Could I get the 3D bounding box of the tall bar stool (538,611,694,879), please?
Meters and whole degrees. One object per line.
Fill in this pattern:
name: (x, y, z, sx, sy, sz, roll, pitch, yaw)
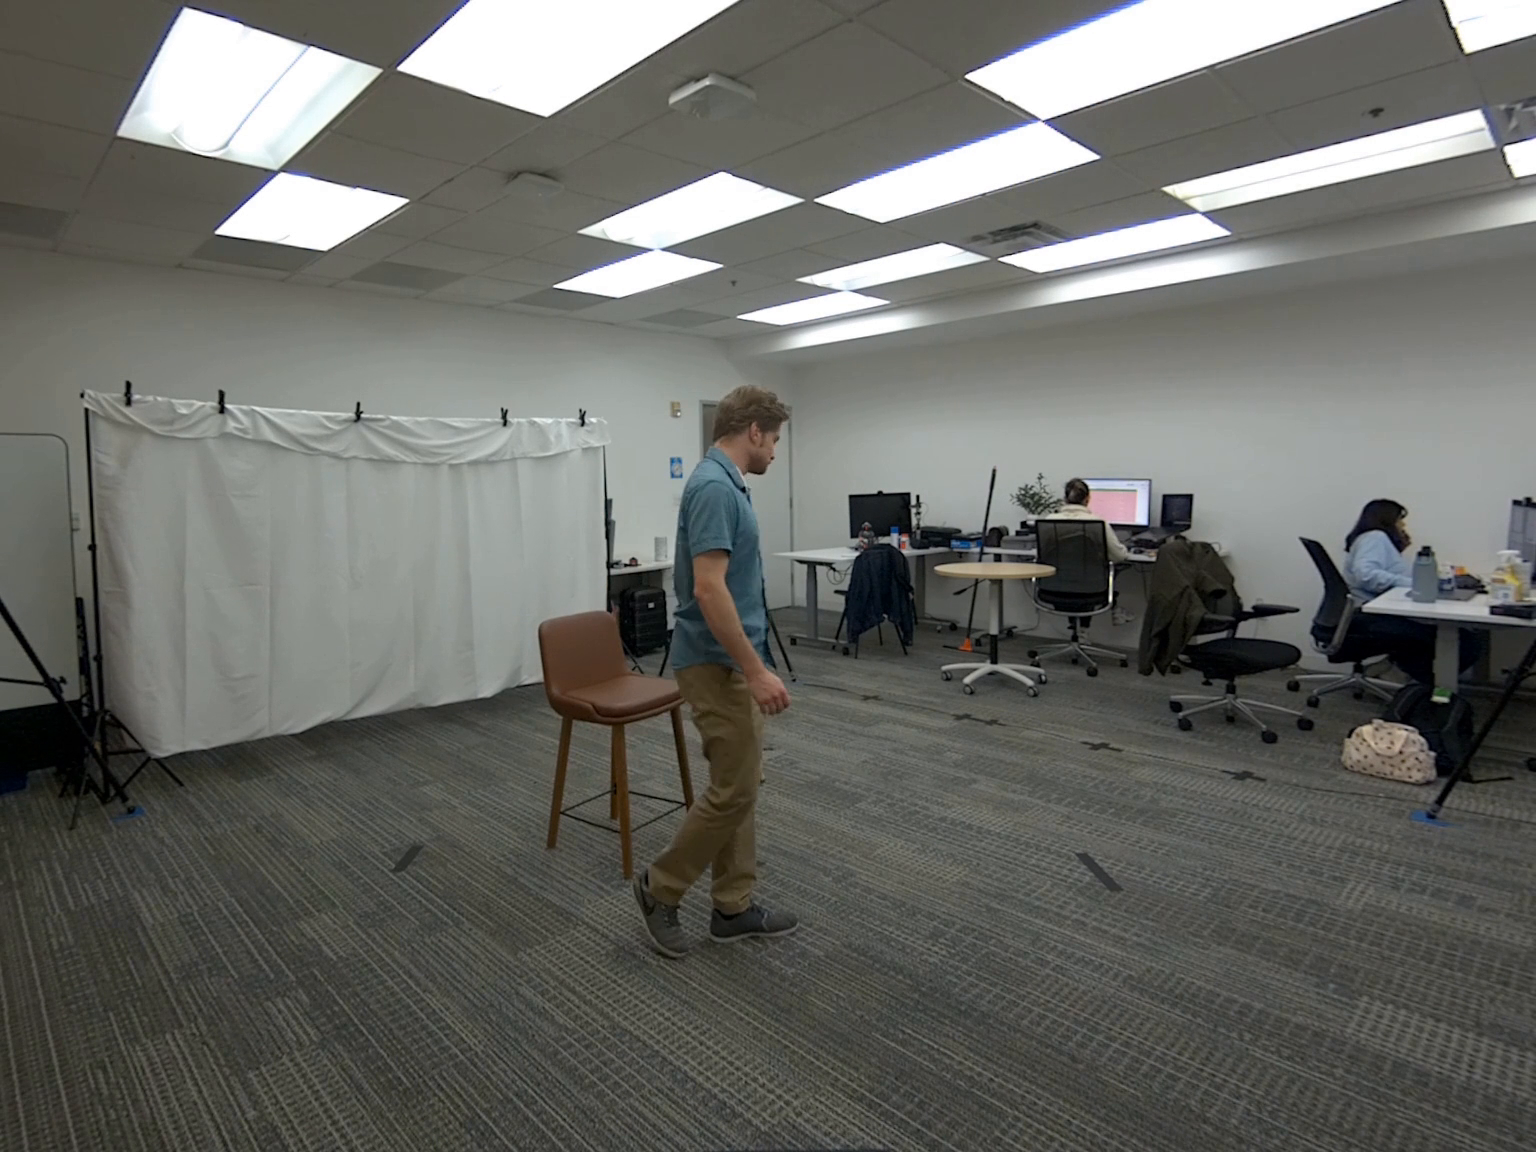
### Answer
tall bar stool: (-0.576, 0.604, 3.280, 0.480, 0.888, 0.445, -1, 3, 36)
